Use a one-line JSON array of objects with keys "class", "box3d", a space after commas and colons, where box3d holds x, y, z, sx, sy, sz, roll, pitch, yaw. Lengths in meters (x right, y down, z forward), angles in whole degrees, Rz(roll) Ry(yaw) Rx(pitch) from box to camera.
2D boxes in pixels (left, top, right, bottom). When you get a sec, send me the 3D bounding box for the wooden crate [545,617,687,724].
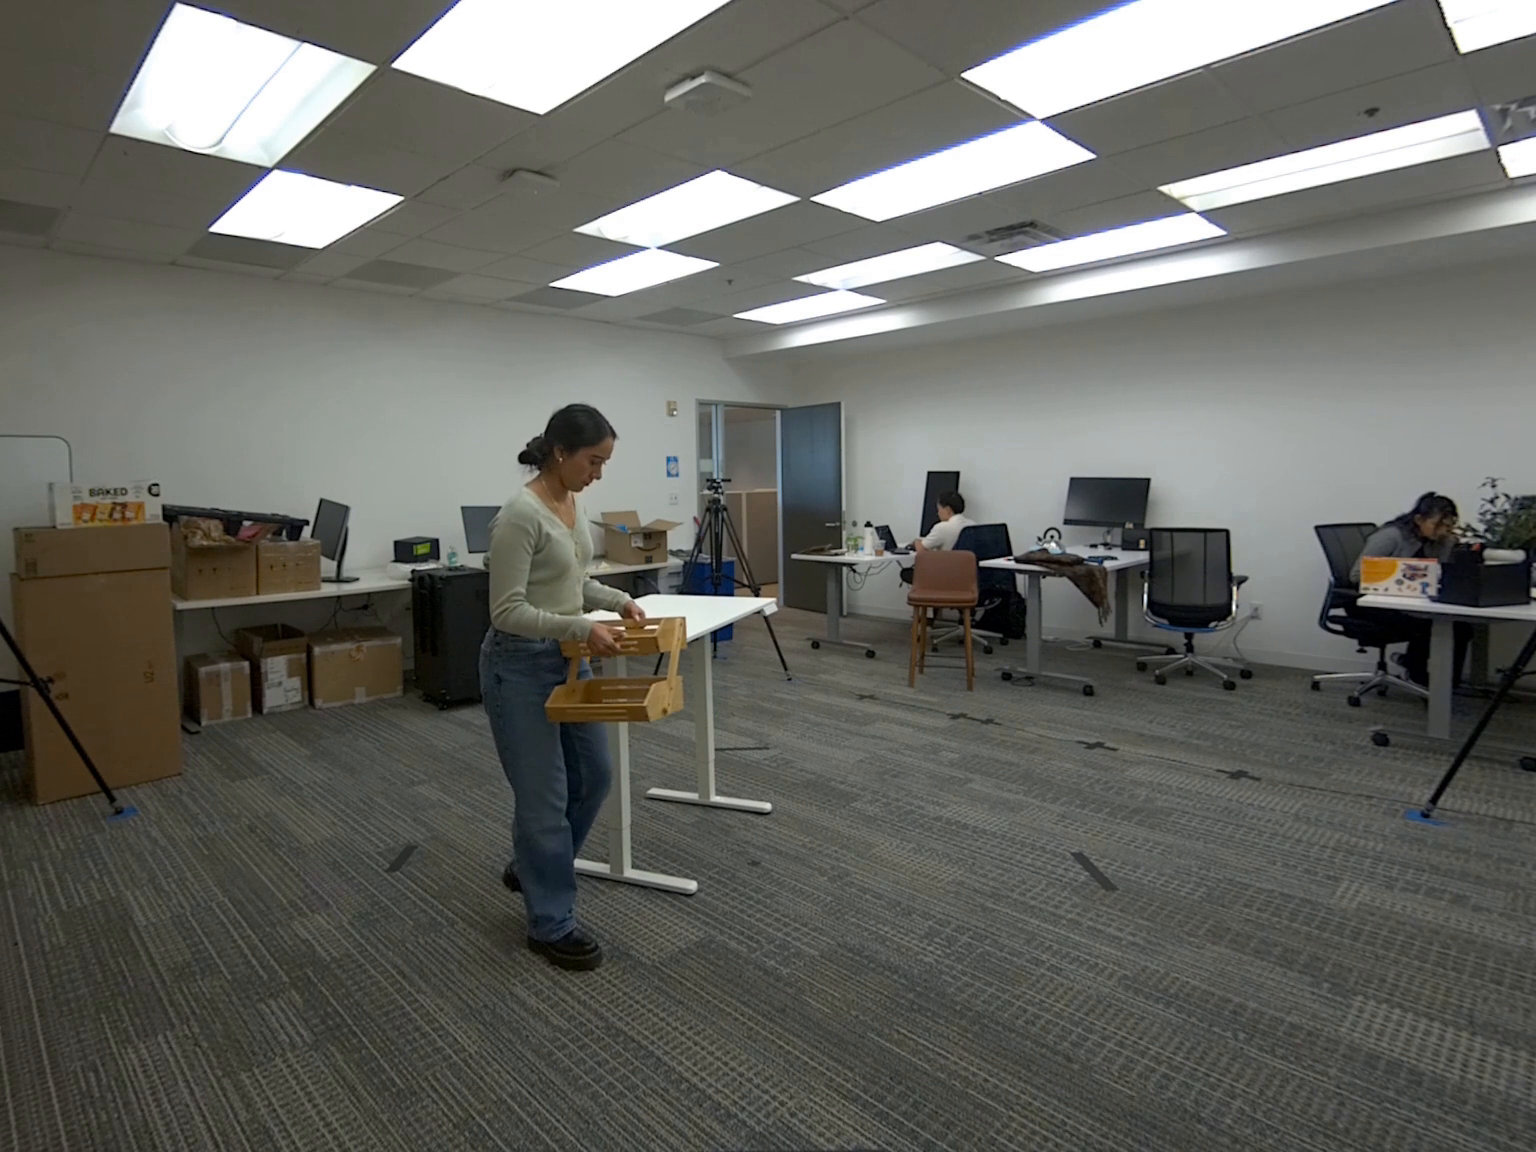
[{"class": "wooden crate", "box3d": [-0.419, 0.251, 2.380, 0.330, 0.274, 0.296, -4, -4, 18]}]
